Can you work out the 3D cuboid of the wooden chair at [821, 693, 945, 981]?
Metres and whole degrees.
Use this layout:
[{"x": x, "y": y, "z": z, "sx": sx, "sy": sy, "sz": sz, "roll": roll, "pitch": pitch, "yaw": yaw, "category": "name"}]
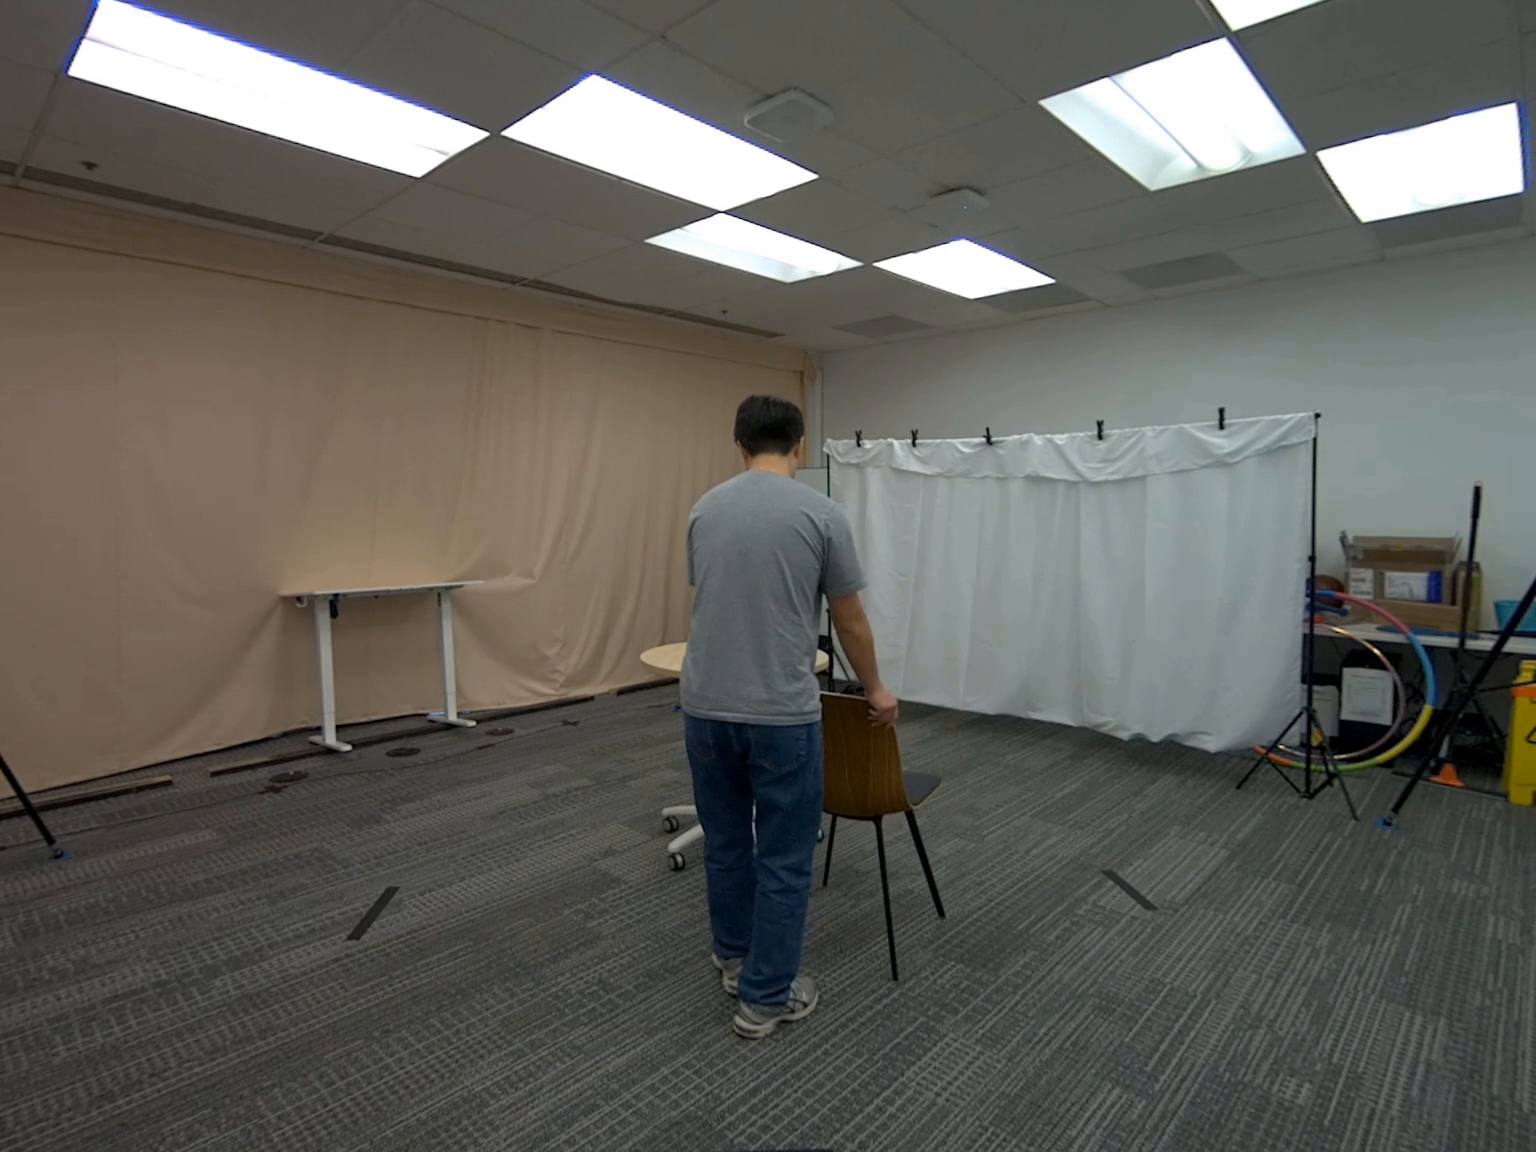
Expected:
[{"x": 0.290, "y": 0.731, "z": 2.748, "sx": 0.492, "sy": 0.873, "sz": 0.510, "roll": 1, "pitch": 9, "yaw": 31, "category": "wooden chair"}]
